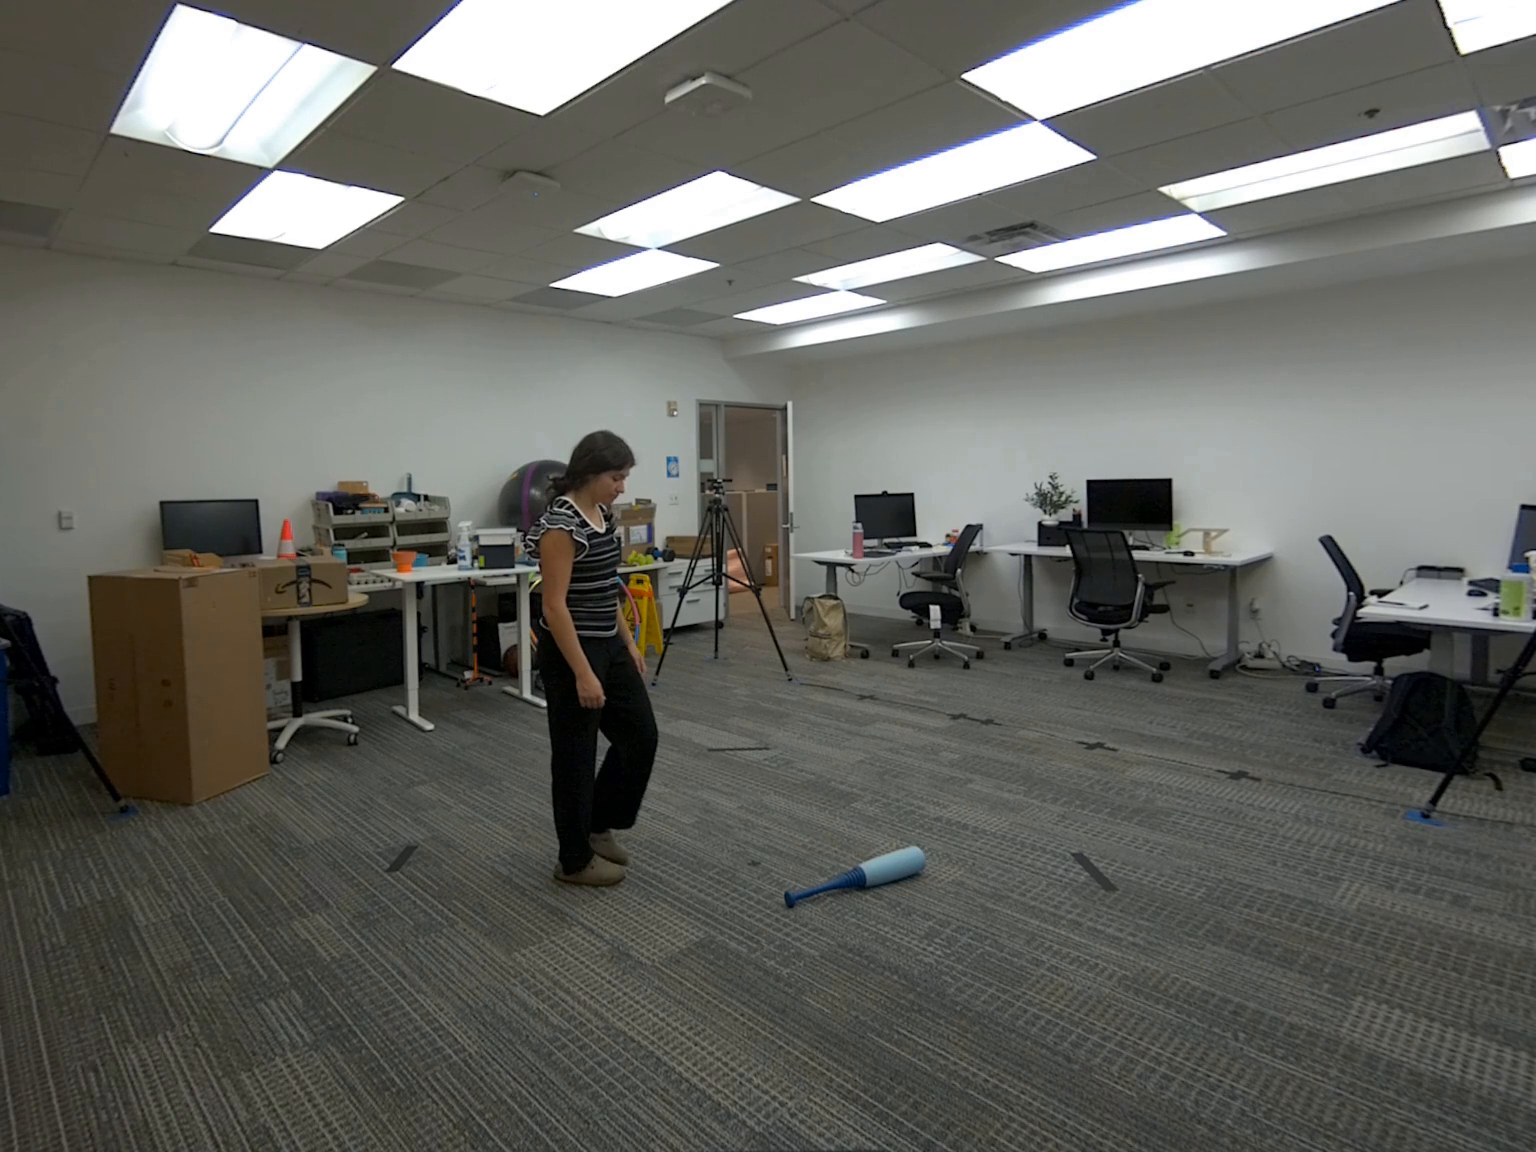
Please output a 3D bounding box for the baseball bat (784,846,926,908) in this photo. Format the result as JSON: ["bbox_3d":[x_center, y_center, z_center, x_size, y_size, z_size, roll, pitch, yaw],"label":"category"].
[{"bbox_3d":[0.300,1.023,2.894,0.533,0.088,0.091,-7,7,-24],"label":"baseball bat"}]
